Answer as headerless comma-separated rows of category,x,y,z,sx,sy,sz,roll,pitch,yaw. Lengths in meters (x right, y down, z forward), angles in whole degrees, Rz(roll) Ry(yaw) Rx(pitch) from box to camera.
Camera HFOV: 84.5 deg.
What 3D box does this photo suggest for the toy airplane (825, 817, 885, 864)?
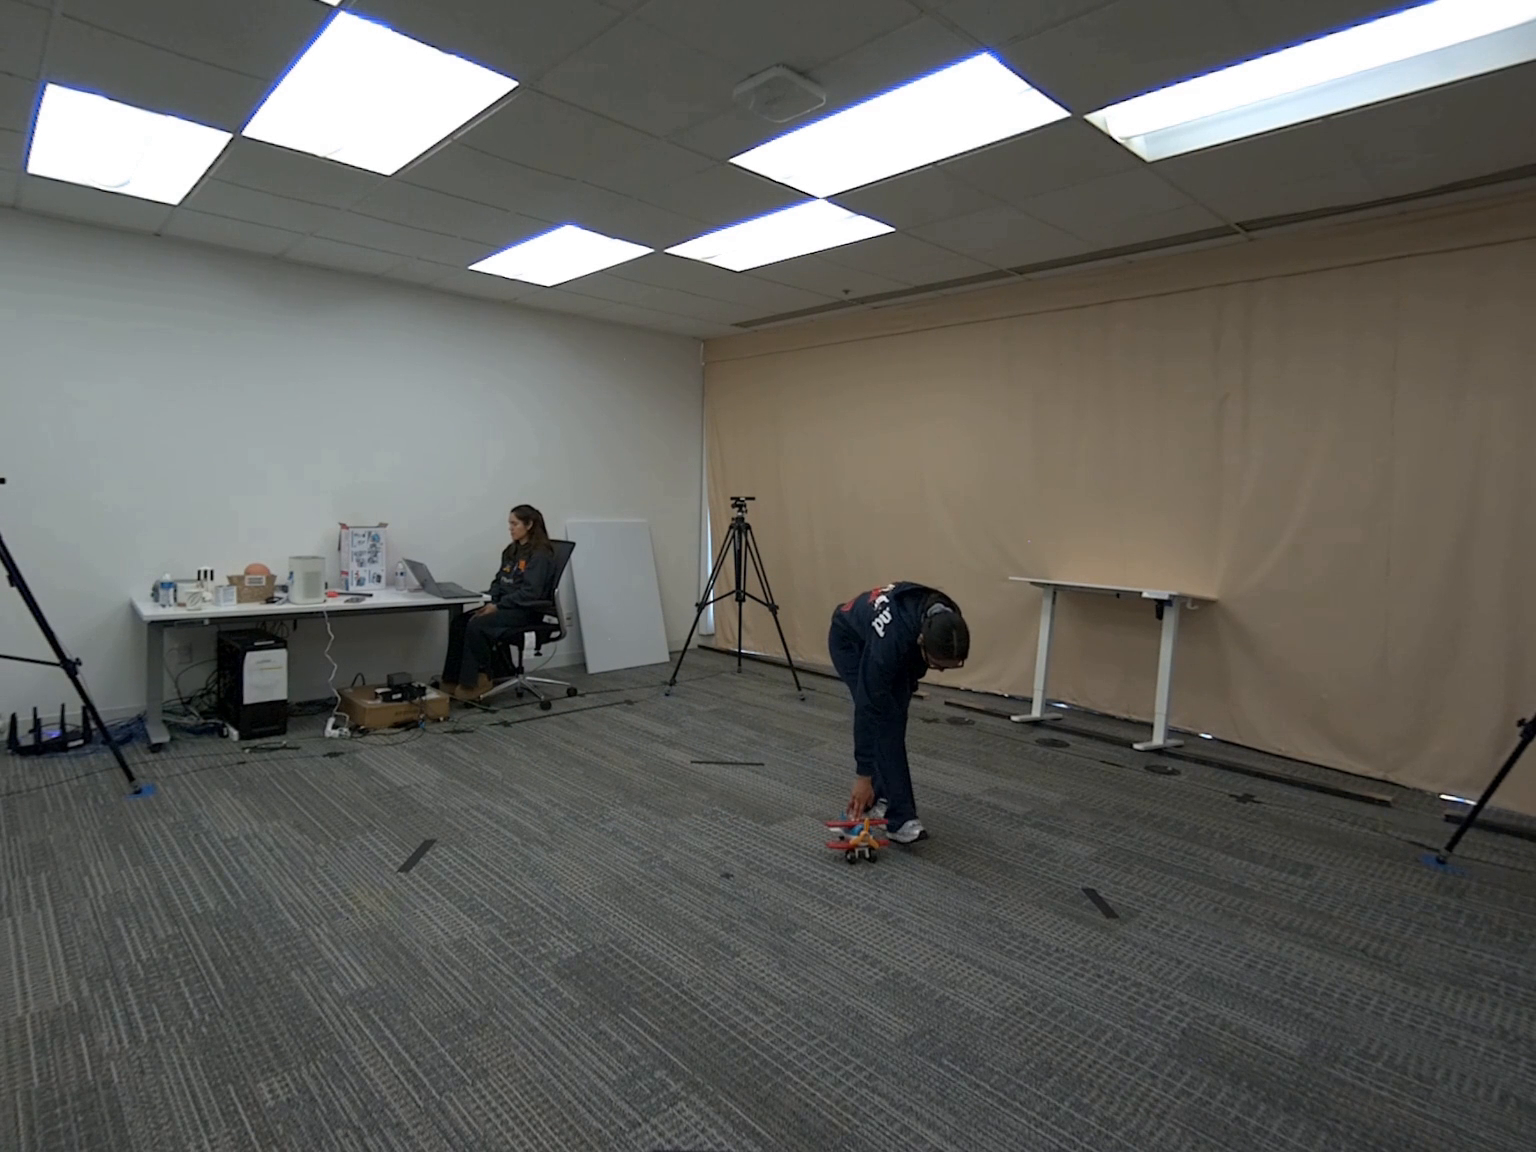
toy airplane,0.317,1.022,3.324,0.245,0.156,0.266,-2,5,-41
